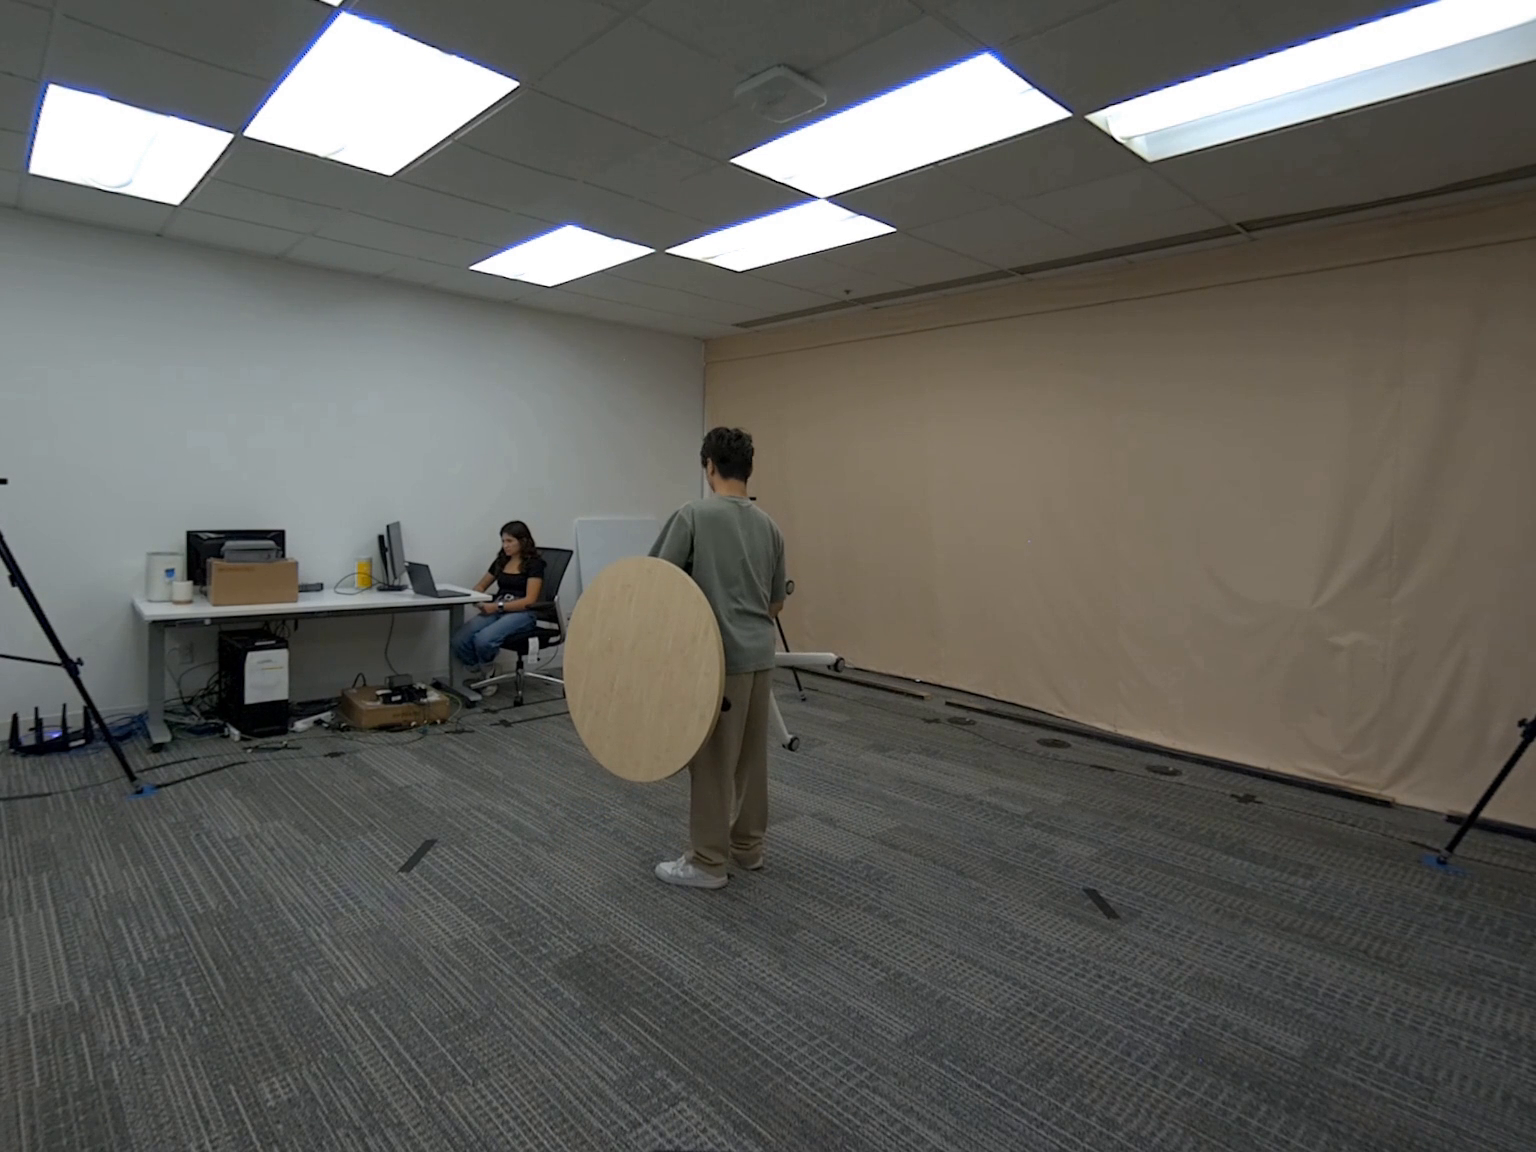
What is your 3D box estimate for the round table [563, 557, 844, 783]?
[{"bbox_3d":[-0.226,0.336,3.202,0.805,0.785,0.766,5,-1,39],"label":"round table"}]
